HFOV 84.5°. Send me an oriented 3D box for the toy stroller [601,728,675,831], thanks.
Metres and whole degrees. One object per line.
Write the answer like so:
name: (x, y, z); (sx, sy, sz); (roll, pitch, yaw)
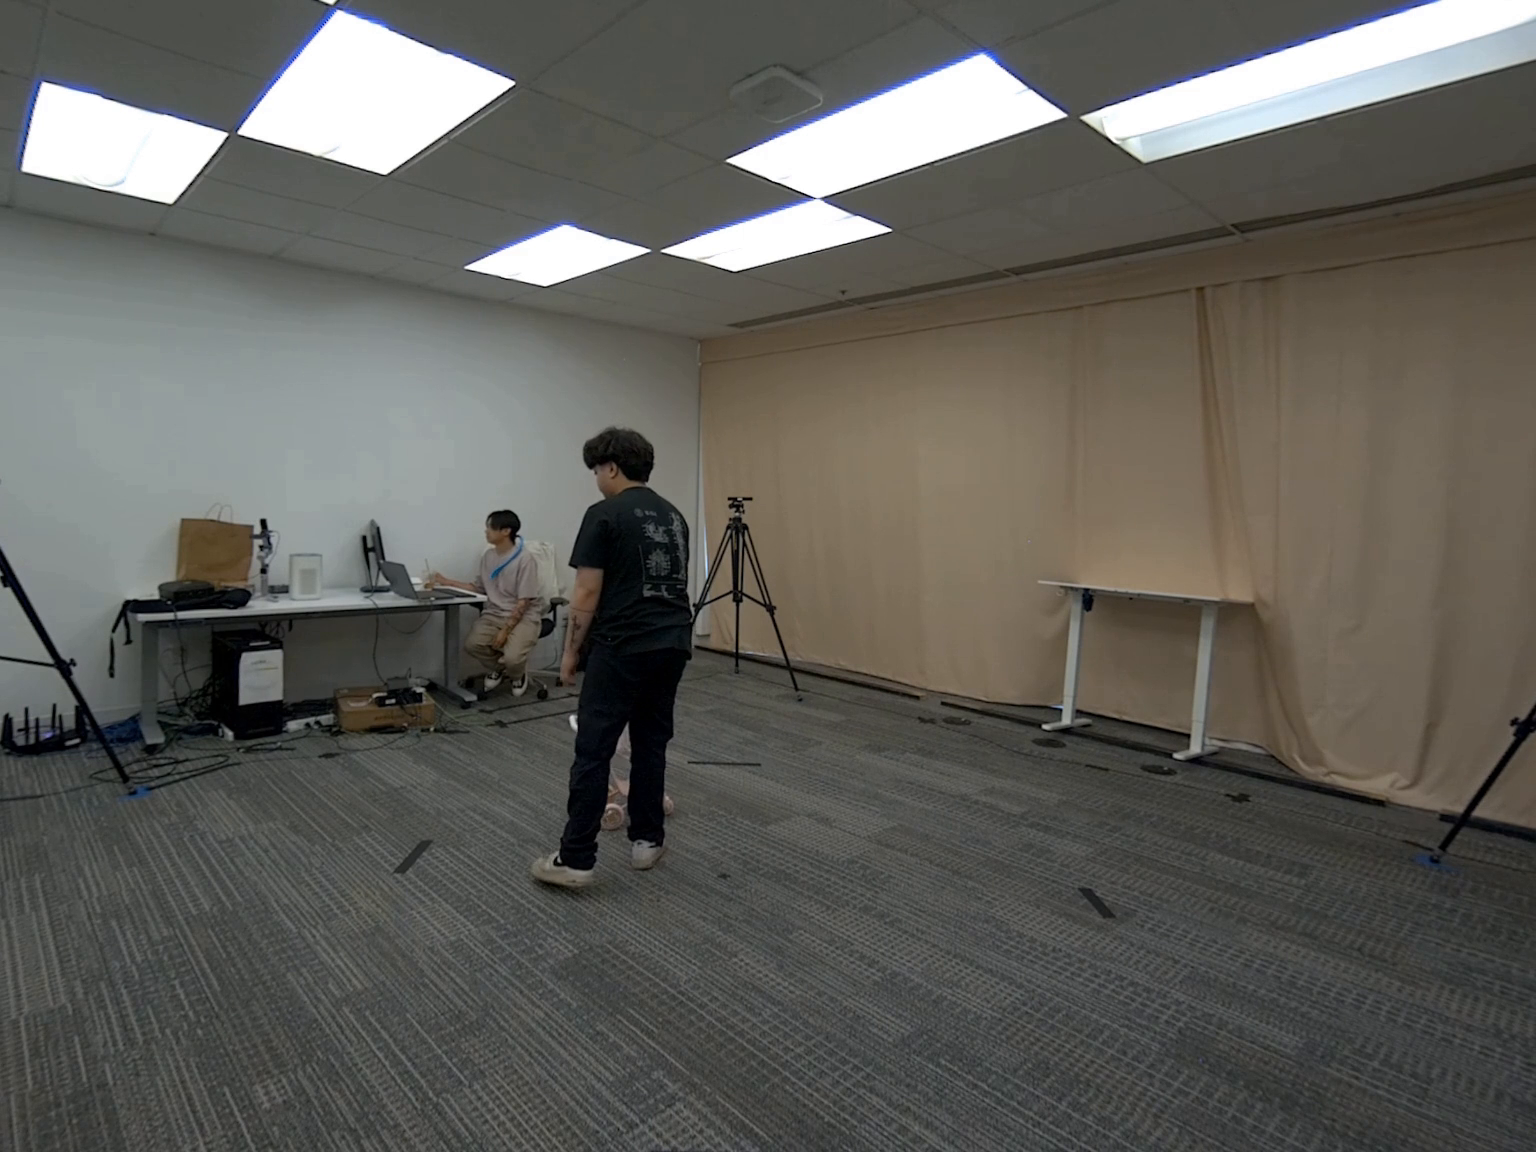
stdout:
toy stroller: (-0.623, 0.826, 3.640); (0.339, 0.532, 0.285); (-15, 7, -11)
